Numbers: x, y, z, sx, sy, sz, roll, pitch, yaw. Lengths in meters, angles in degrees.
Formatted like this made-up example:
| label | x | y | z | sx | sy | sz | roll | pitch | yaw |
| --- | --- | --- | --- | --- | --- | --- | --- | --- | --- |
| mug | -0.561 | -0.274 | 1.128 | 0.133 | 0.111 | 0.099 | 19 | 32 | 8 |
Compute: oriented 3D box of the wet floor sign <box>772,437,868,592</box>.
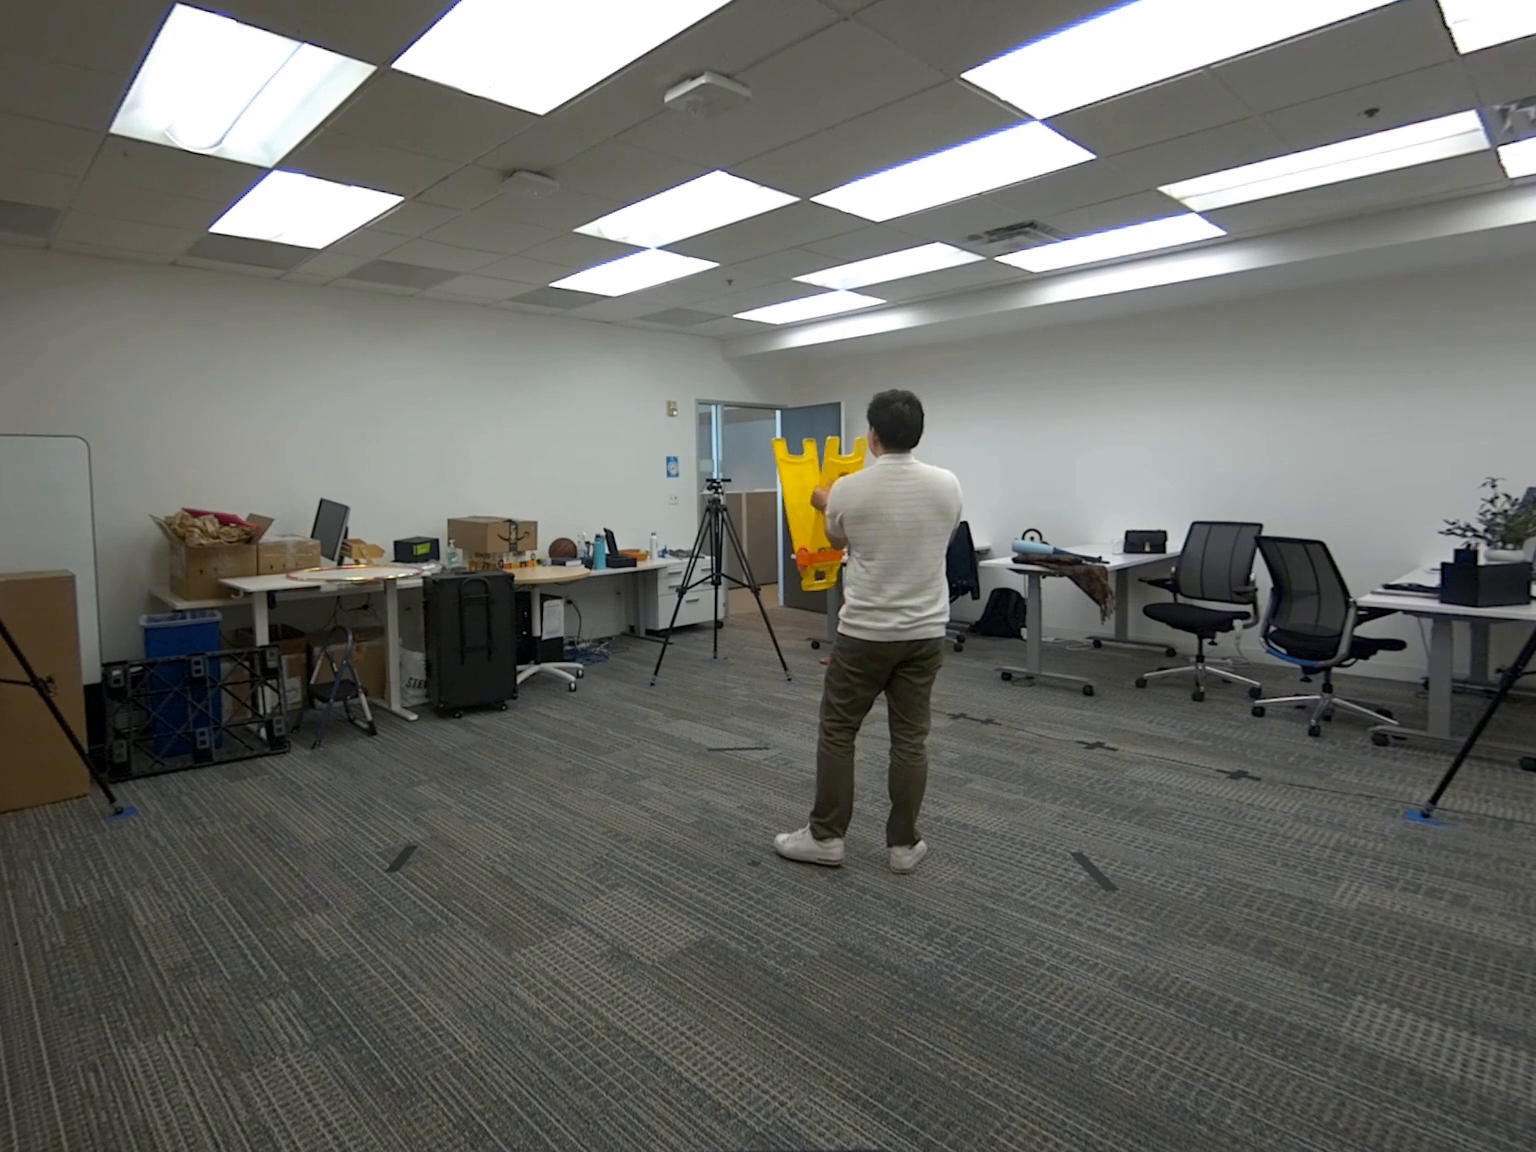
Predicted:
| label | x | y | z | sx | sy | sz | roll | pitch | yaw |
| --- | --- | --- | --- | --- | --- | --- | --- | --- | --- |
| wet floor sign | 0.220 | -0.261 | 3.634 | 0.299 | 0.643 | 0.275 | 6 | 7 | 45 |
